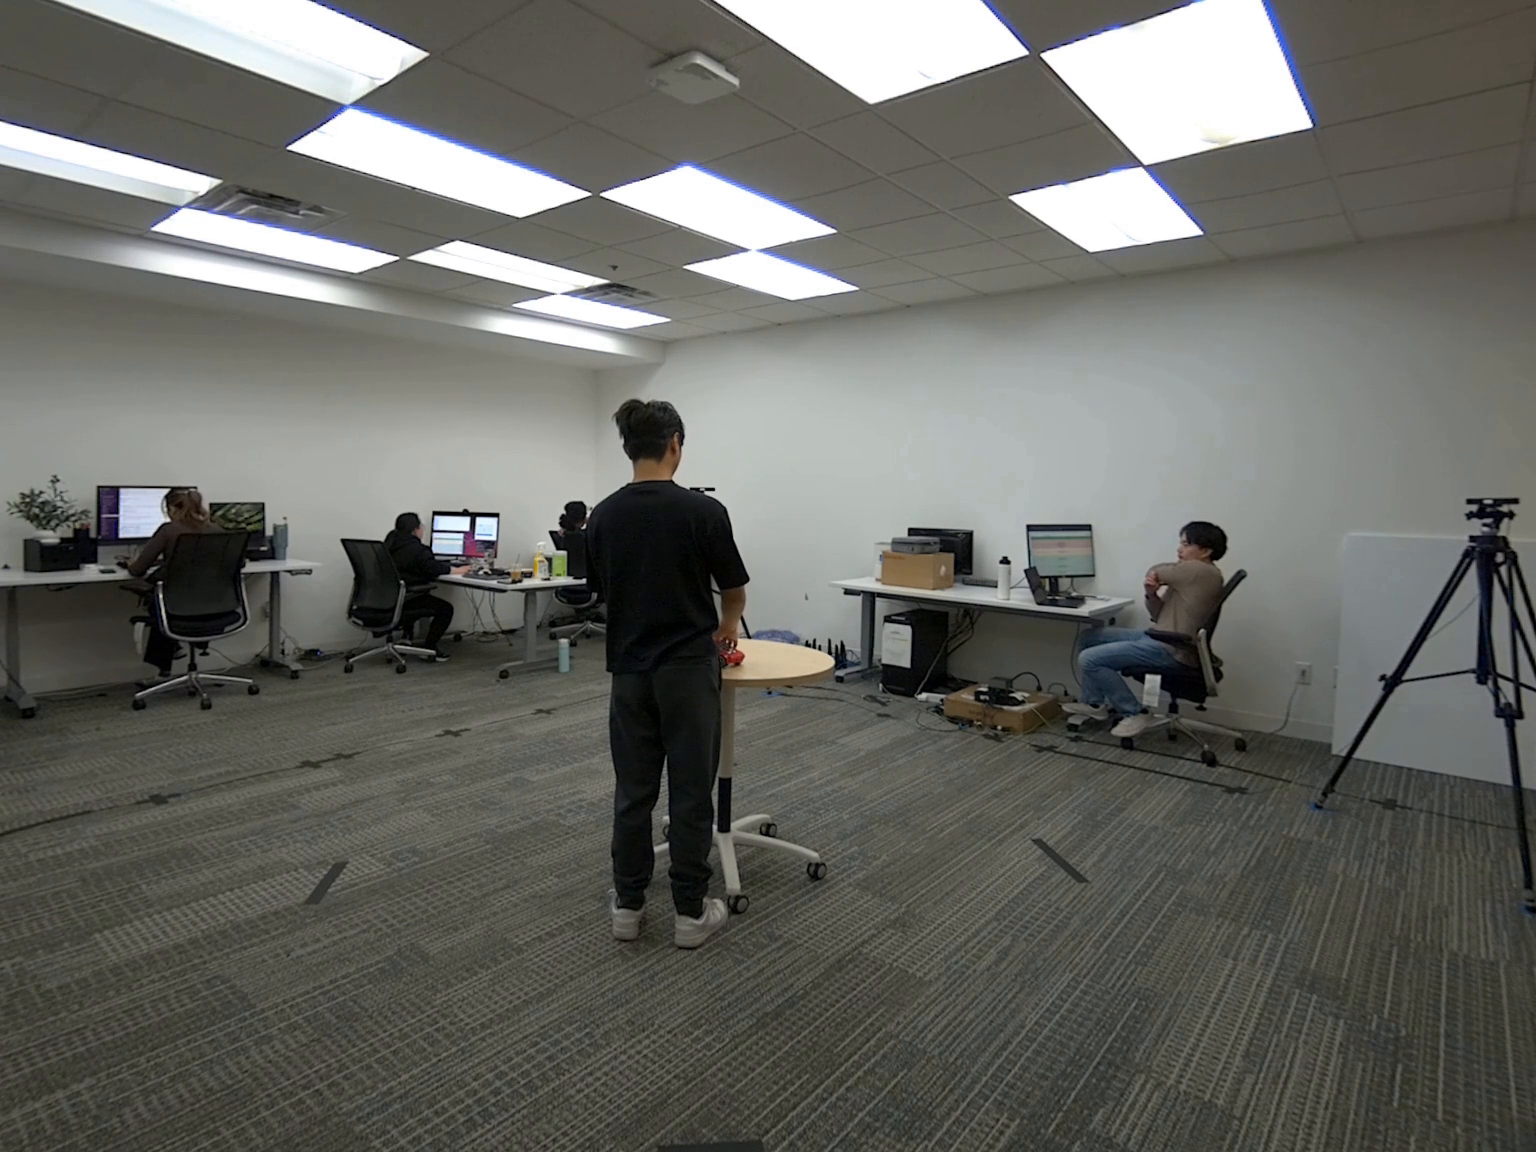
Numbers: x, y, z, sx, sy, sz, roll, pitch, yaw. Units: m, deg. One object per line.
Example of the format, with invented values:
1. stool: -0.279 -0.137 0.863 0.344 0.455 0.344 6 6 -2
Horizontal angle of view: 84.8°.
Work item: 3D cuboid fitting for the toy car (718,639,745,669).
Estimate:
1. toy car: -0.213 0.245 2.961 0.264 0.082 0.126 30 20 33
